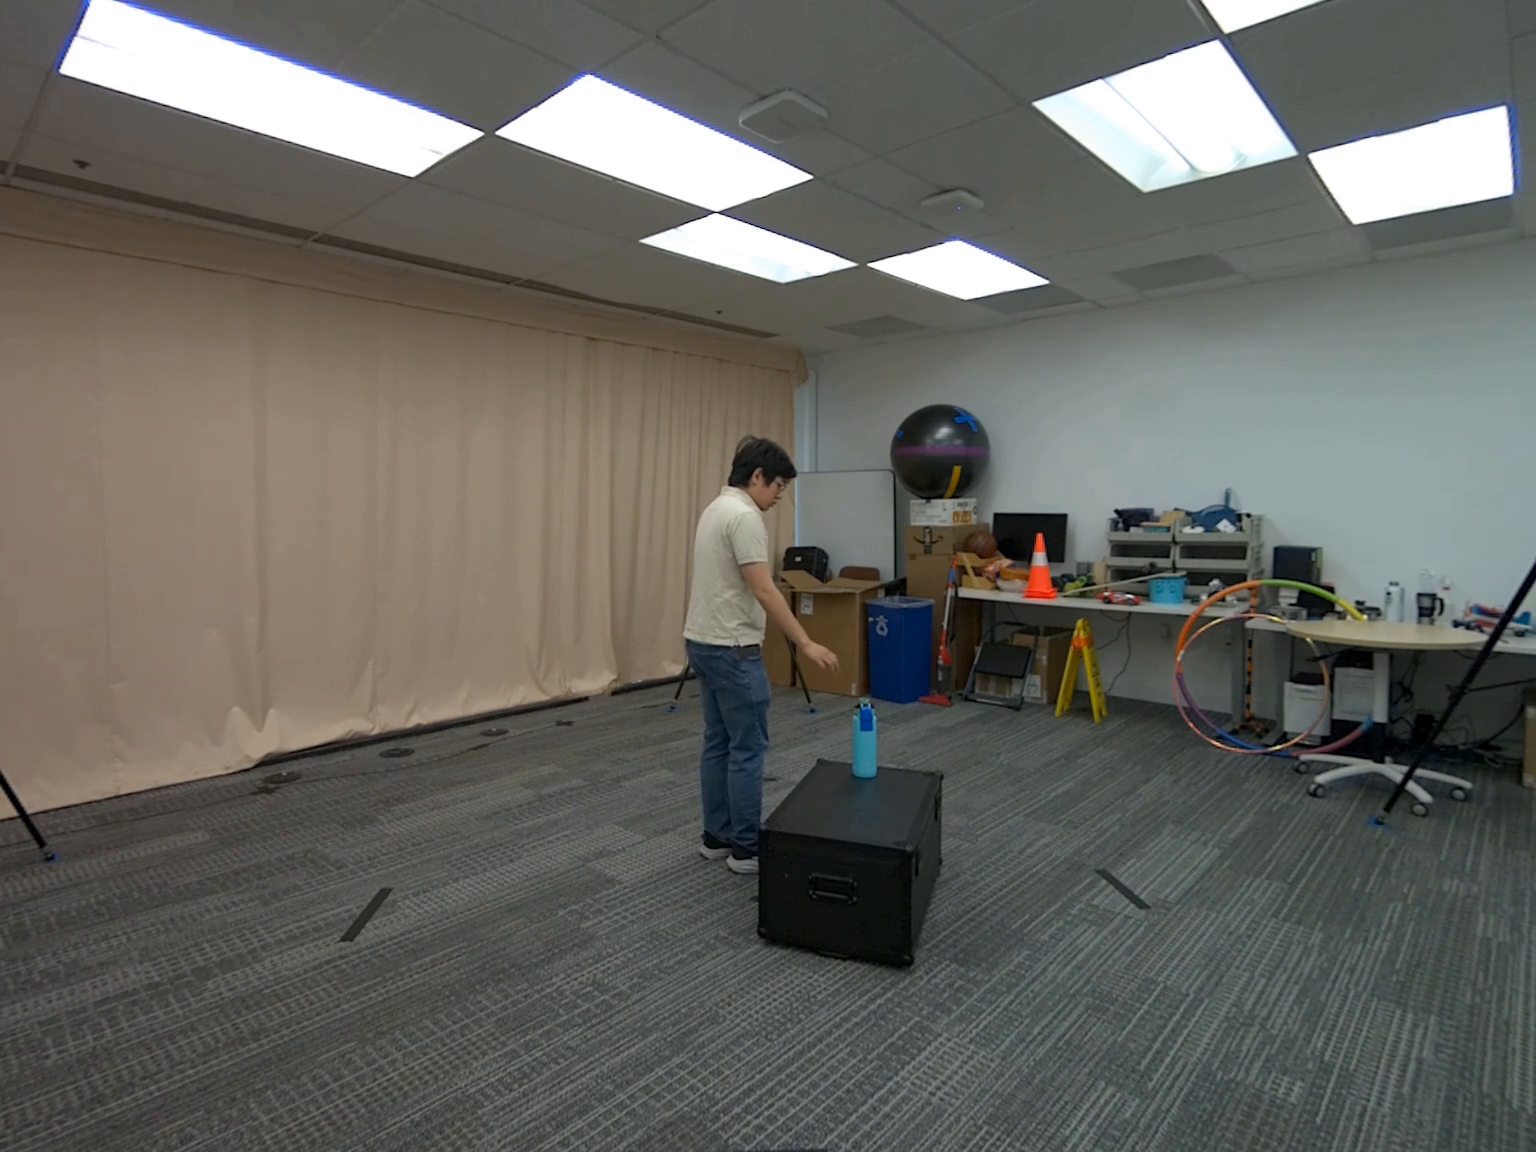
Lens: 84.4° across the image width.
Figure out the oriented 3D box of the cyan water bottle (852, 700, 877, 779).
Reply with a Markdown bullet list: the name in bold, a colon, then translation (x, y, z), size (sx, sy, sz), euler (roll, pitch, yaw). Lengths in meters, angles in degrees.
- **cyan water bottle**: translation (0.372, 0.613, 3.181), size (0.092, 0.282, 0.093), euler (-1, 4, -2)
